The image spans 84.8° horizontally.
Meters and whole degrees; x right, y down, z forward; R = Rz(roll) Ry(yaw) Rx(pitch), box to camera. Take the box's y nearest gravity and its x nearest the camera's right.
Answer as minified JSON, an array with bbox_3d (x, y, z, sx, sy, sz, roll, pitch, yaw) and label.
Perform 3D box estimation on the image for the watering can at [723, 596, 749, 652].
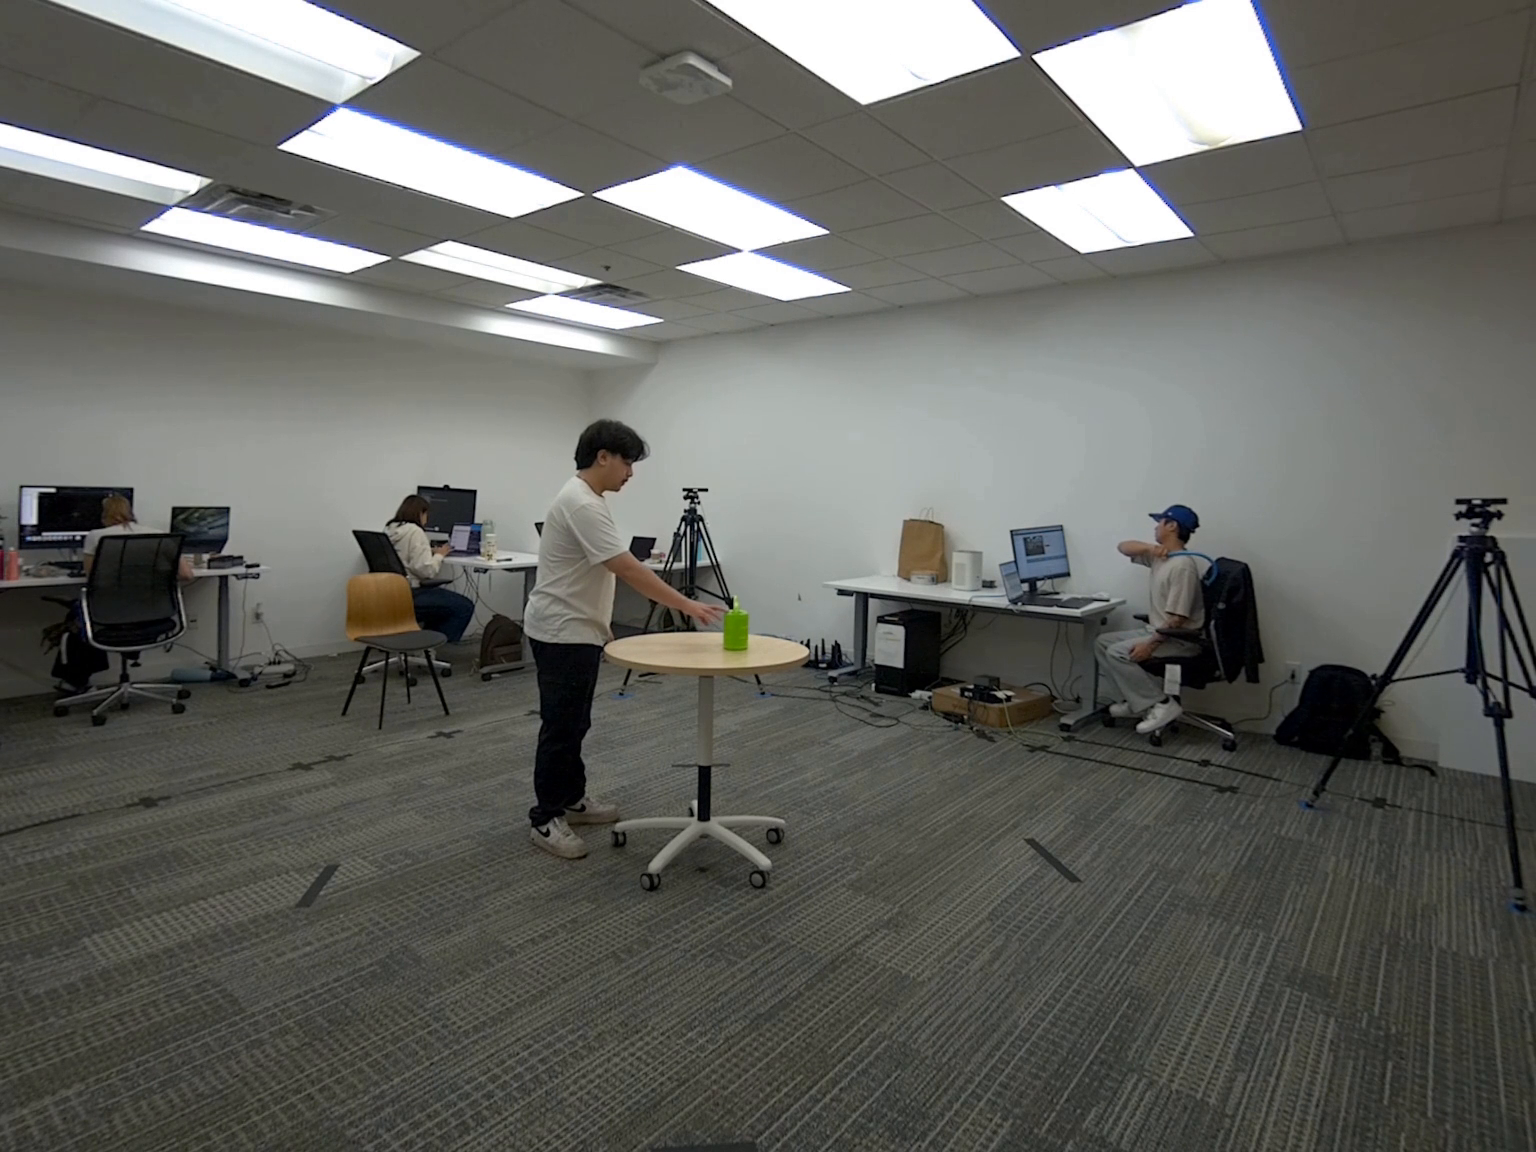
[{"bbox_3d":[-0.119,0.185,3.246,0.100,0.176,0.274,7,4,16],"label":"watering can"}]
